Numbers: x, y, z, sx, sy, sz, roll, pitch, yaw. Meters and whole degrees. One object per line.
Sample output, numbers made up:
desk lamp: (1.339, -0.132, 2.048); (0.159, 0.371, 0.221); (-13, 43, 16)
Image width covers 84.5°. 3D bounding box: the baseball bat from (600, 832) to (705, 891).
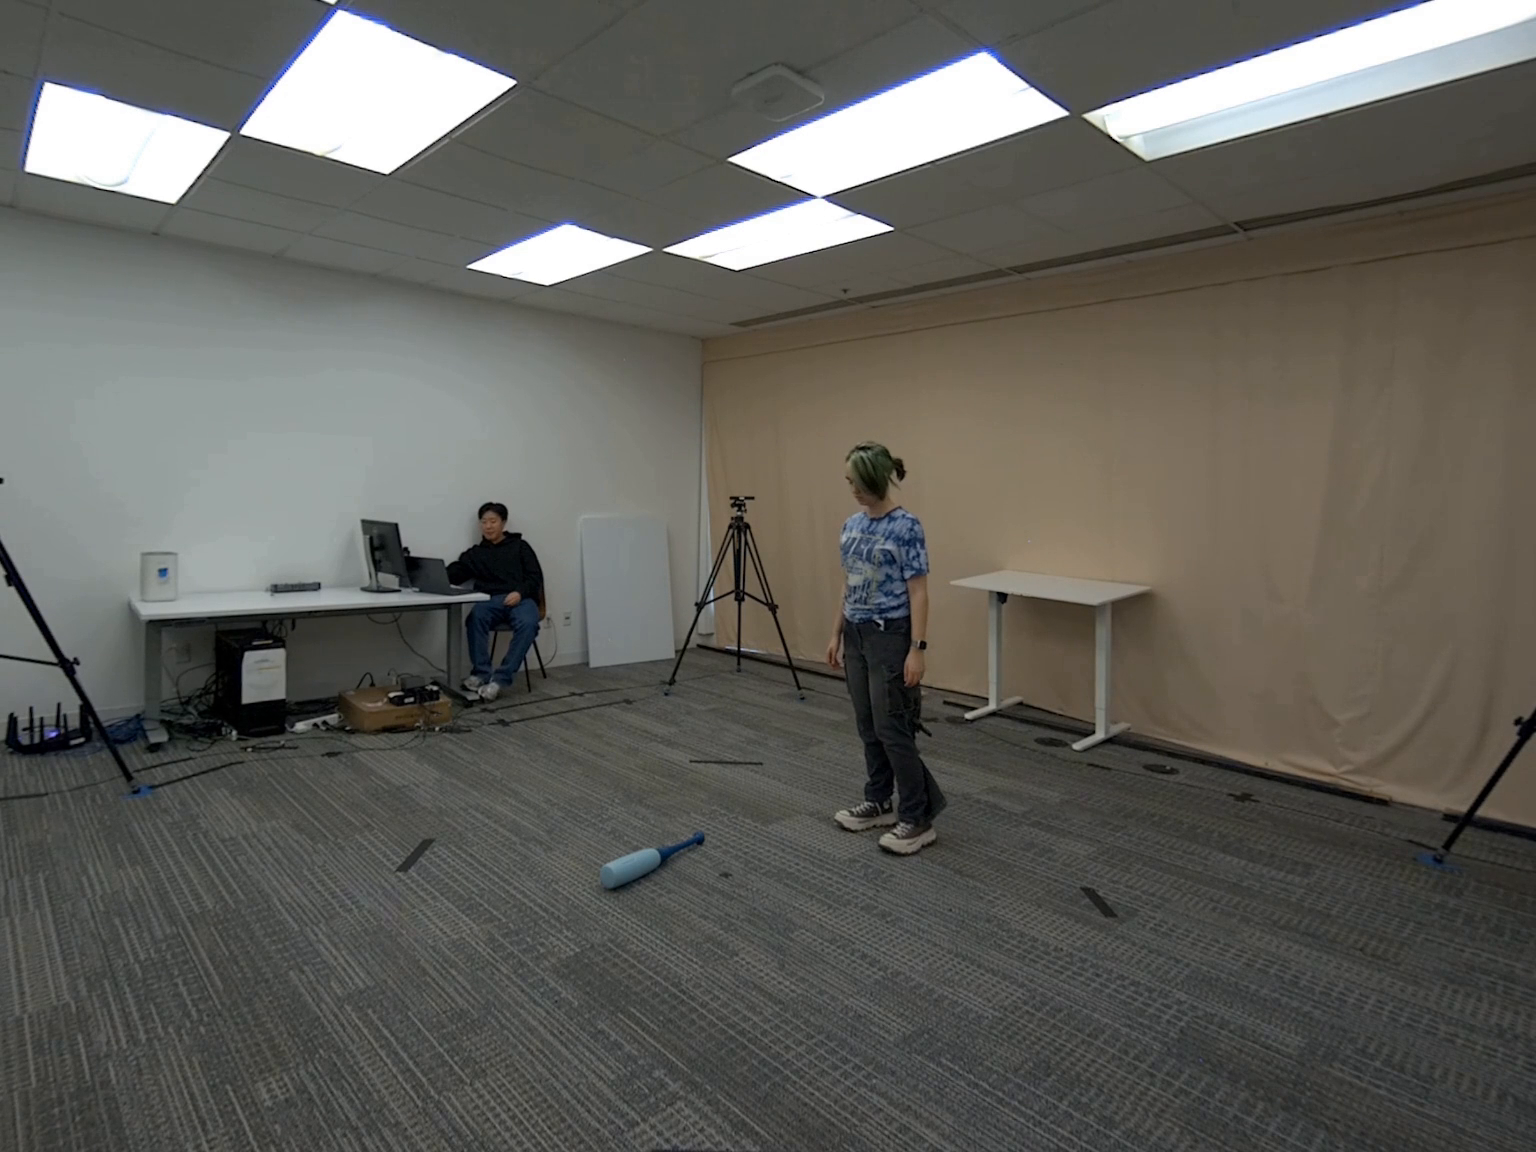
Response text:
baseball bat: (-0.425, 1.057, 3.168); (0.091, 0.089, 0.531); (4, 3, 33)
